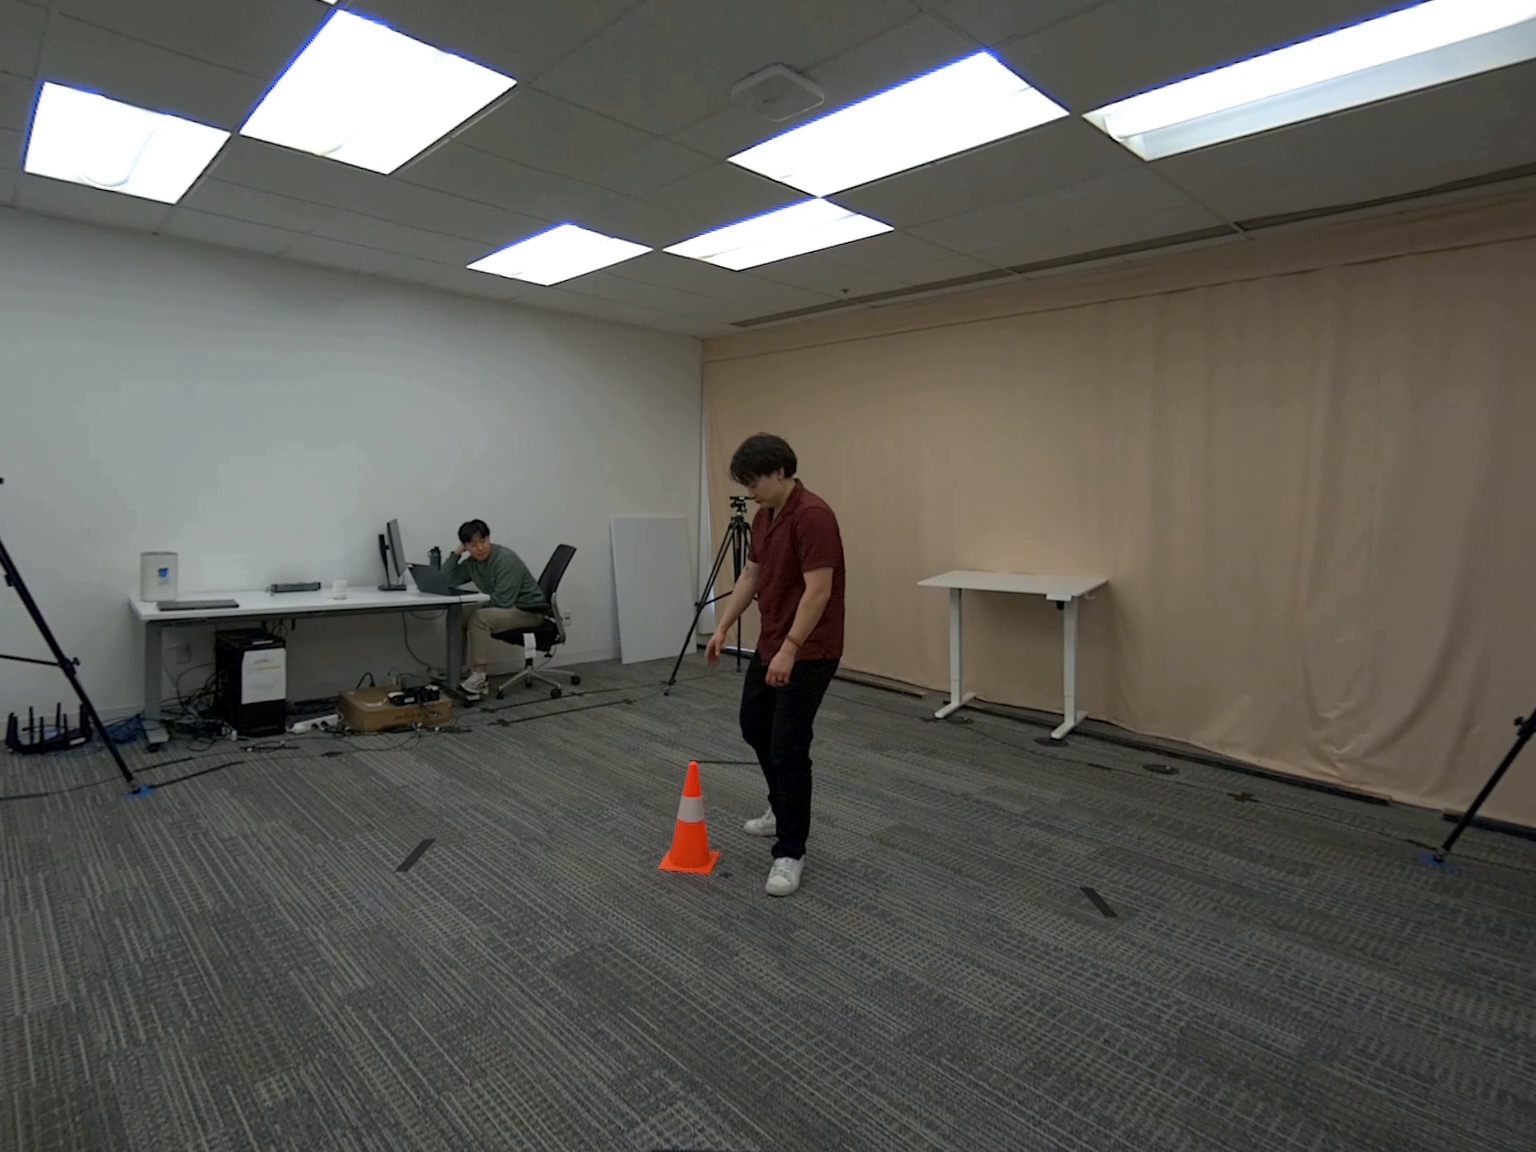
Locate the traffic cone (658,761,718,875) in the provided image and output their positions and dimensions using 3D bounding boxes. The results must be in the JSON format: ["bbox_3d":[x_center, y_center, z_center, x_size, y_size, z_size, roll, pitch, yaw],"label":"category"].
[{"bbox_3d":[-0.303,0.899,3.222,0.207,0.383,0.201,1,3,13],"label":"traffic cone"}]
